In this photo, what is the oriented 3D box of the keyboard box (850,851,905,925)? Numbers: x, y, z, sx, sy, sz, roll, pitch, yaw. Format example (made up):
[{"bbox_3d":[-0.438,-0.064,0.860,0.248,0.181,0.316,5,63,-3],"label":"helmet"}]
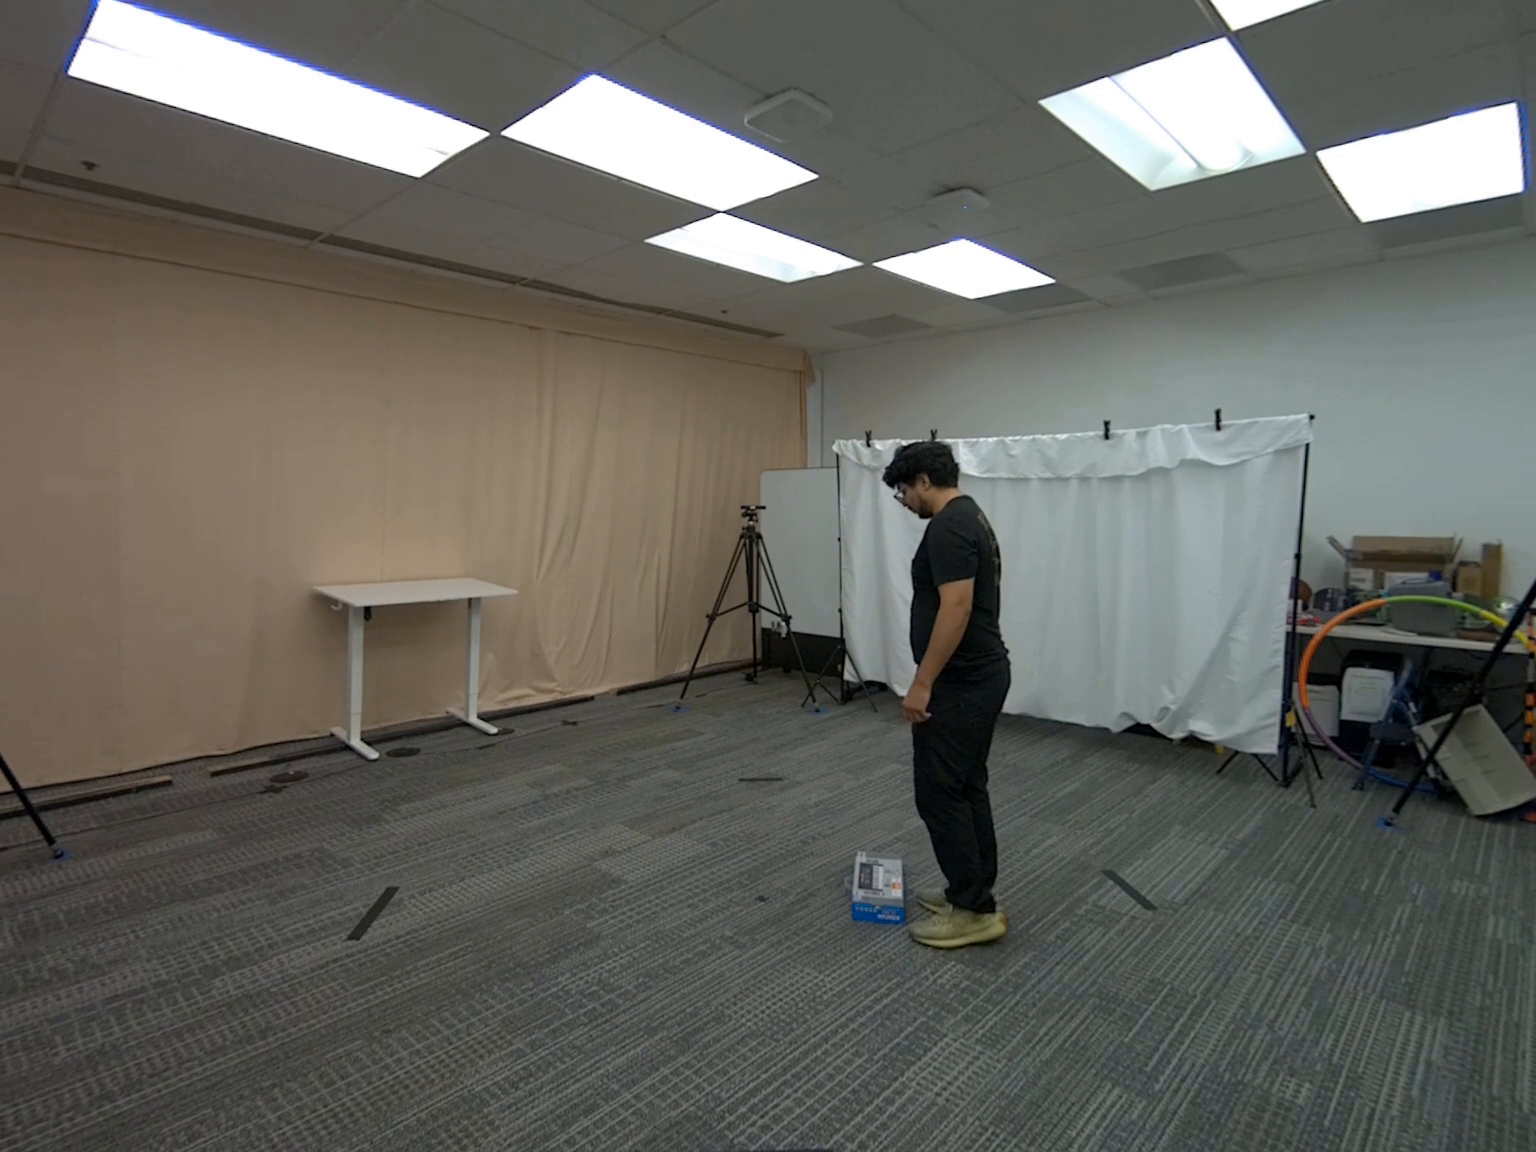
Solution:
[{"bbox_3d":[0.402,1.109,3.023,0.178,0.059,0.433,1,5,8],"label":"keyboard box"}]
